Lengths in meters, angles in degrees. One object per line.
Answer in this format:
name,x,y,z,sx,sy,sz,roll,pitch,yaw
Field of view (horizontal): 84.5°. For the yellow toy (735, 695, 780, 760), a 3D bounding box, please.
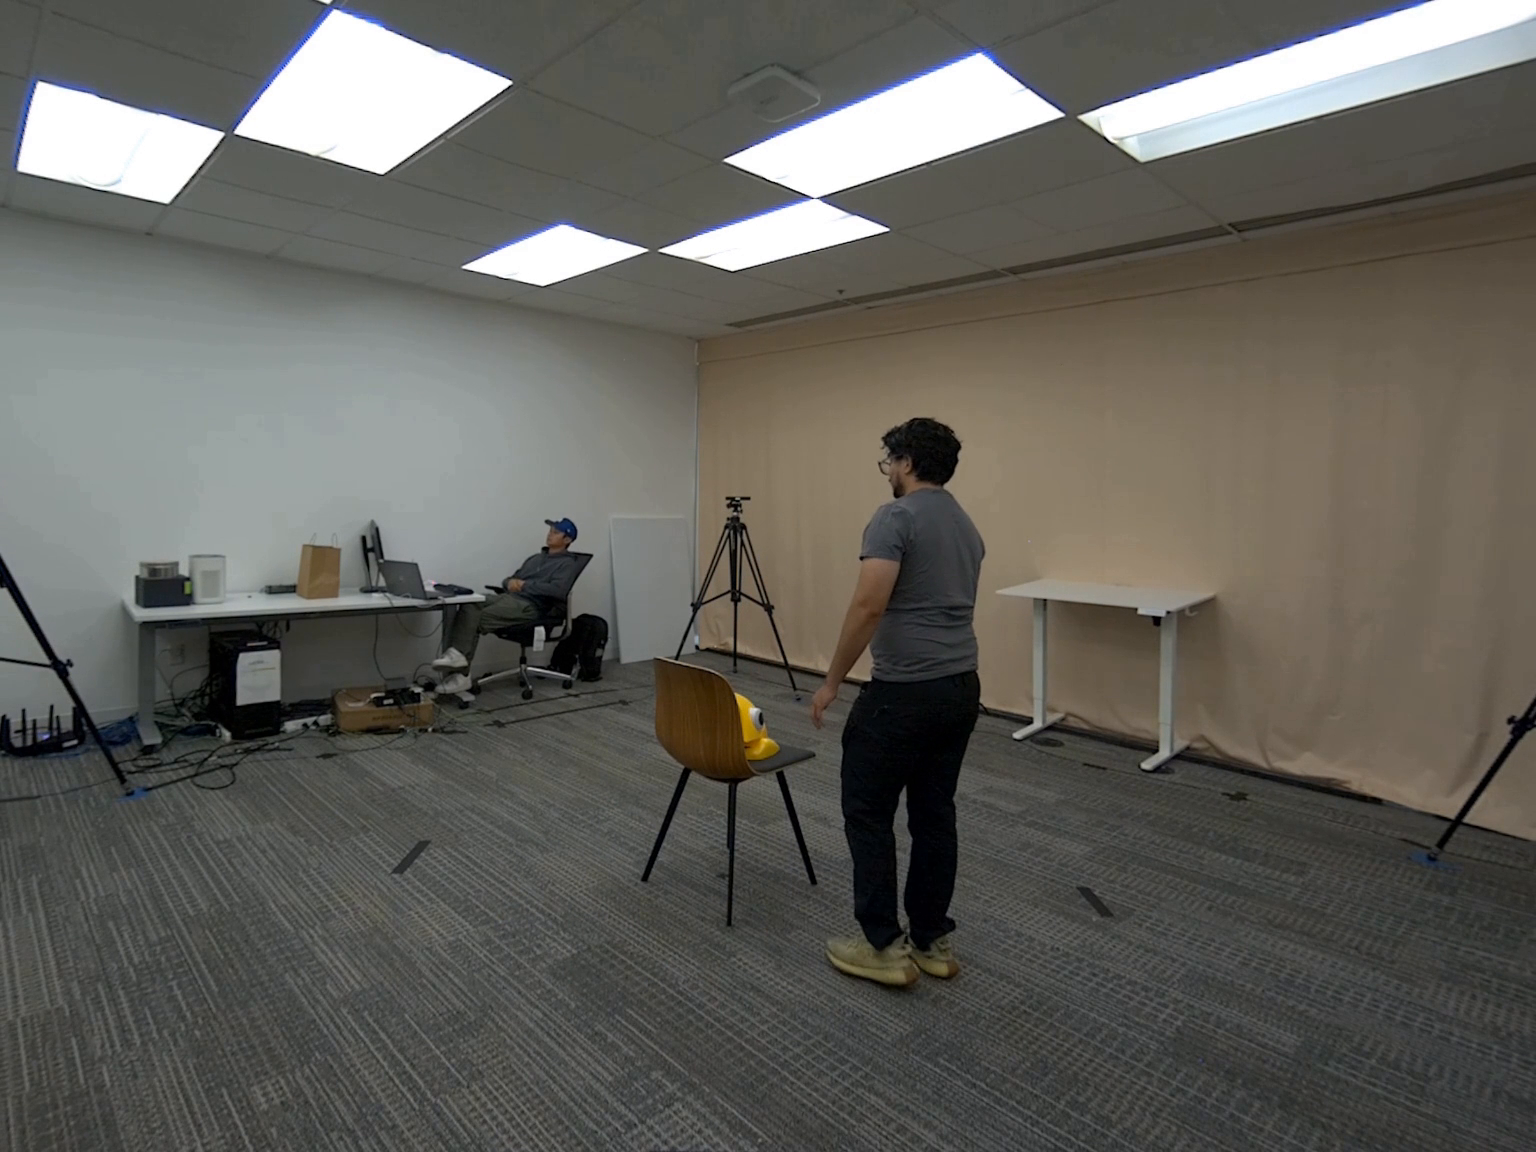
yellow toy,-0.082,0.521,3.031,0.189,0.230,0.210,-8,6,-41
